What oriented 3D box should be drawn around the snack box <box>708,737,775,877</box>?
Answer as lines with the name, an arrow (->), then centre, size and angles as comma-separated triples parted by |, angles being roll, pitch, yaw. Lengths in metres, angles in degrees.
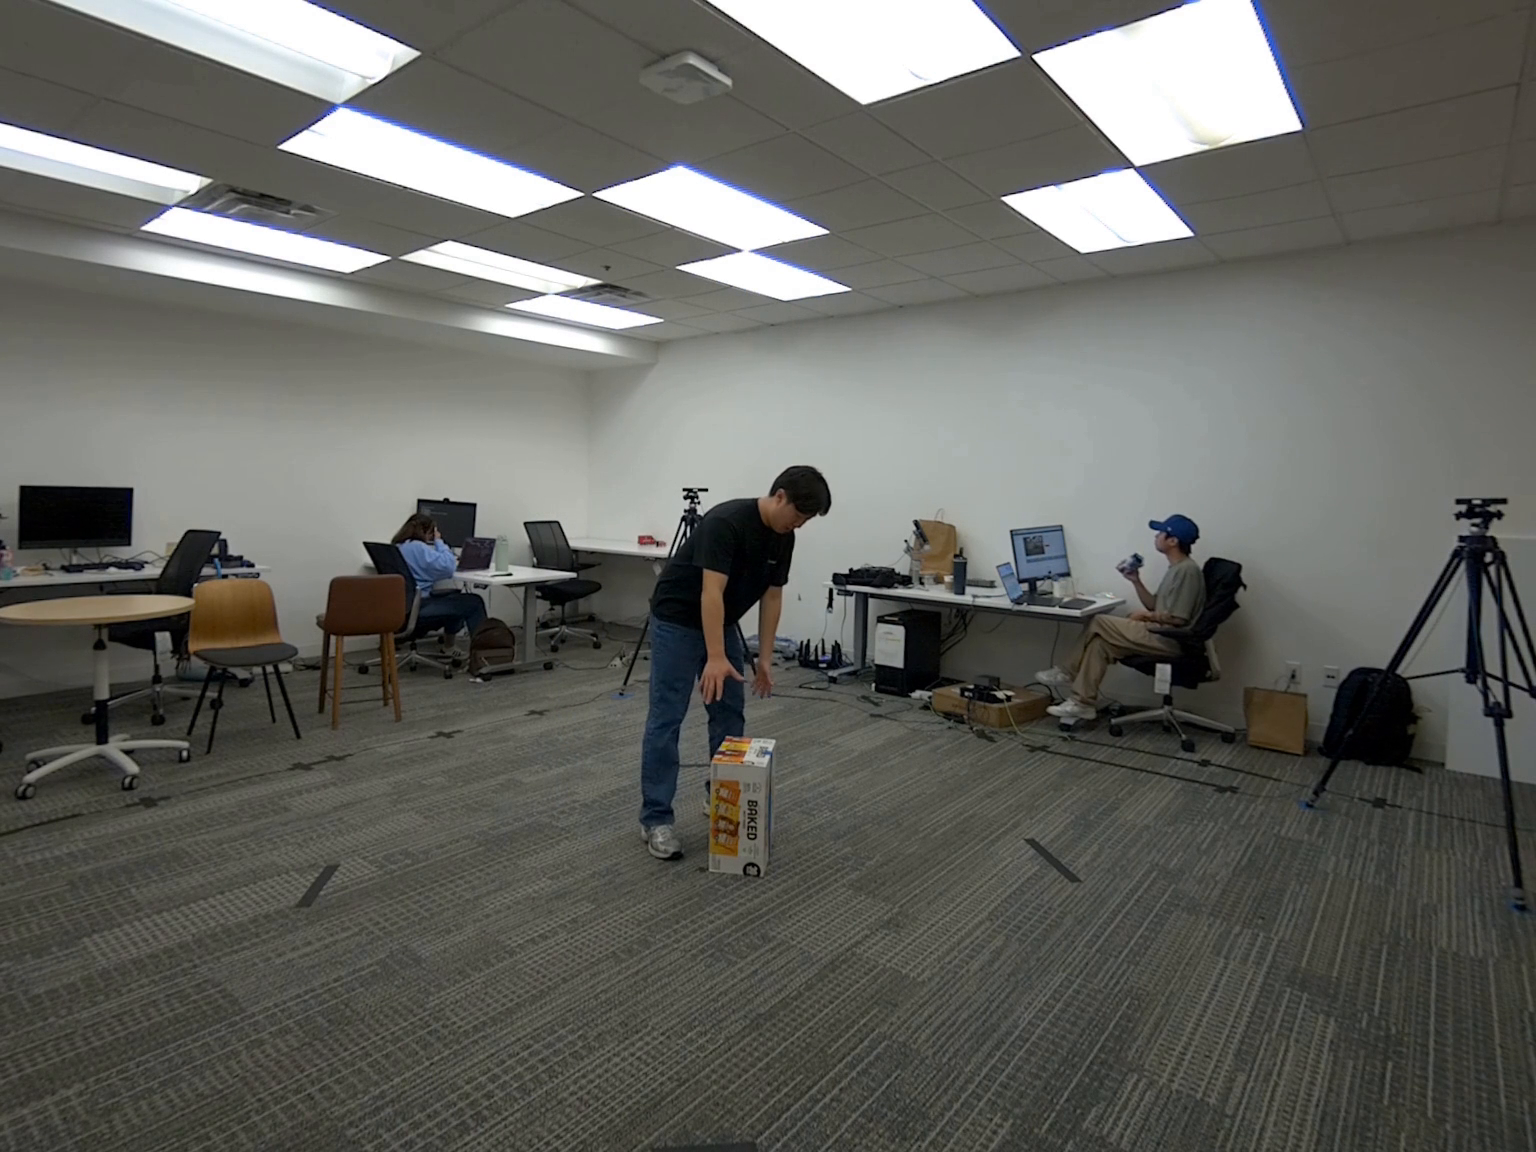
snack box -> -0.100, 0.855, 3.226 | 0.208, 0.404, 0.338 | 2, 4, 7
